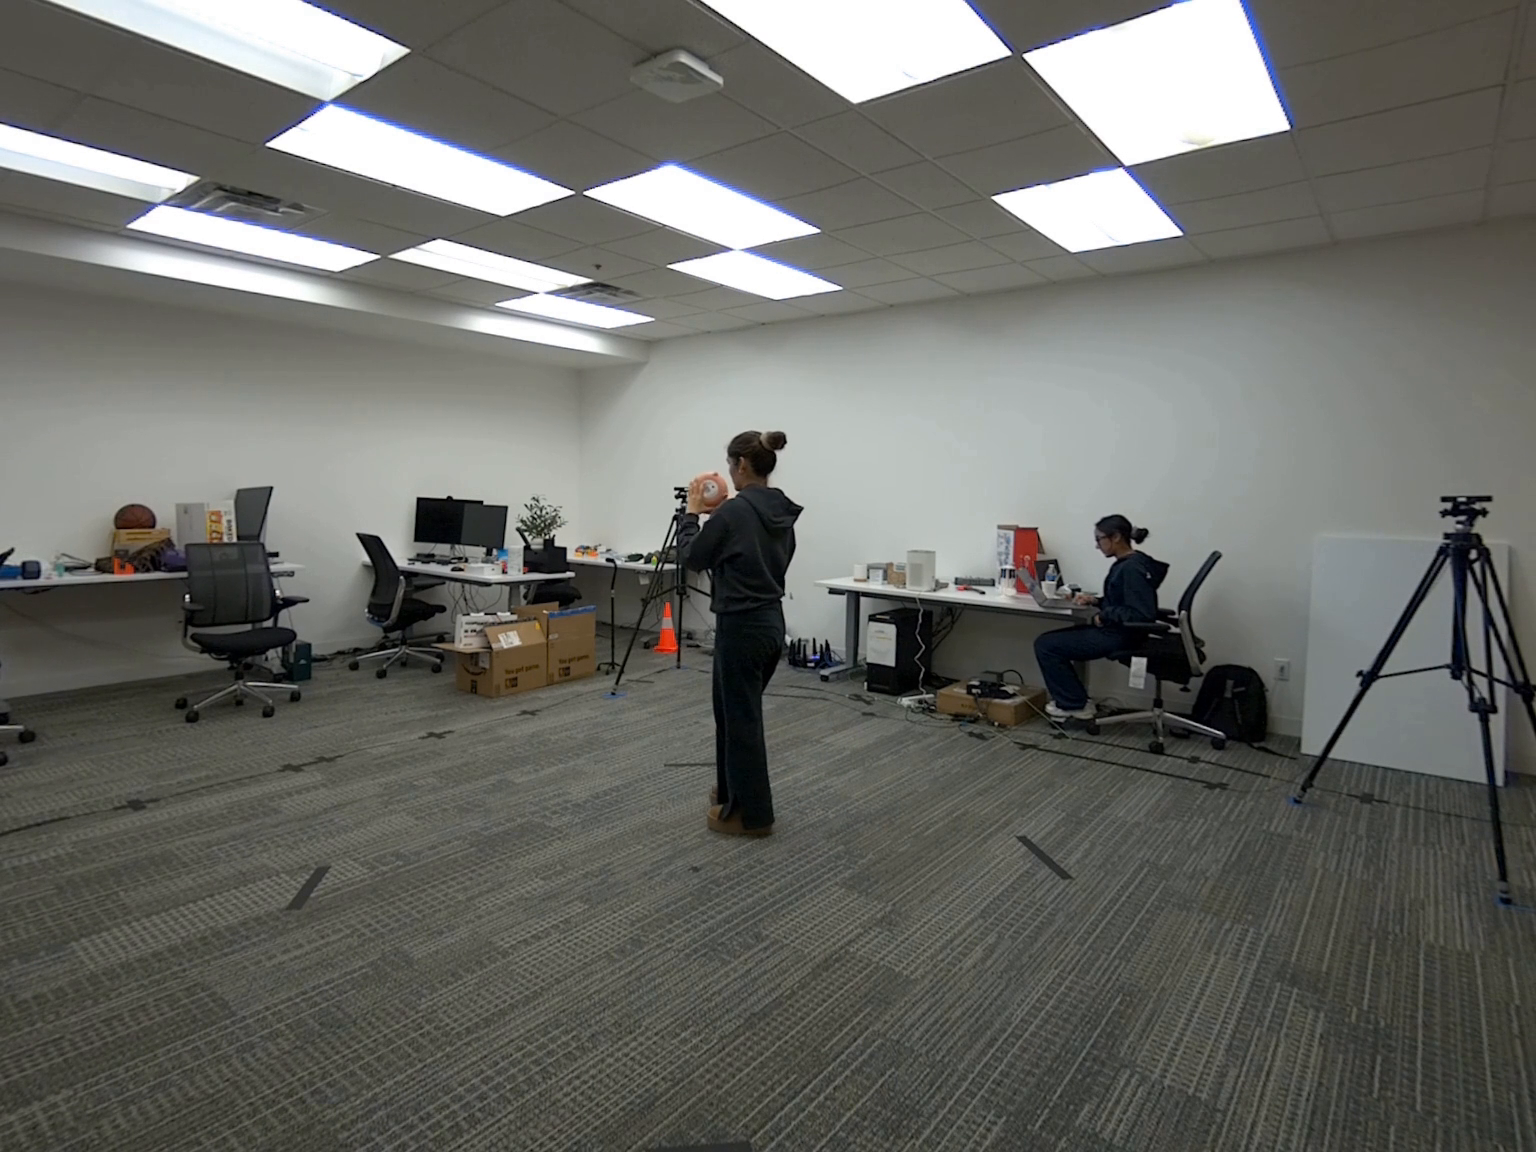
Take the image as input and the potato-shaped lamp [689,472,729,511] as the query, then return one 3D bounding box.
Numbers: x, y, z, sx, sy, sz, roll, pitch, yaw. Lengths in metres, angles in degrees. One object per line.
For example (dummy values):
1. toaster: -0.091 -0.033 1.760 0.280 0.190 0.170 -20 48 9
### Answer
1. potato-shaped lamp: -0.267 -0.360 3.666 0.172 0.166 0.196 -24 -5 2
